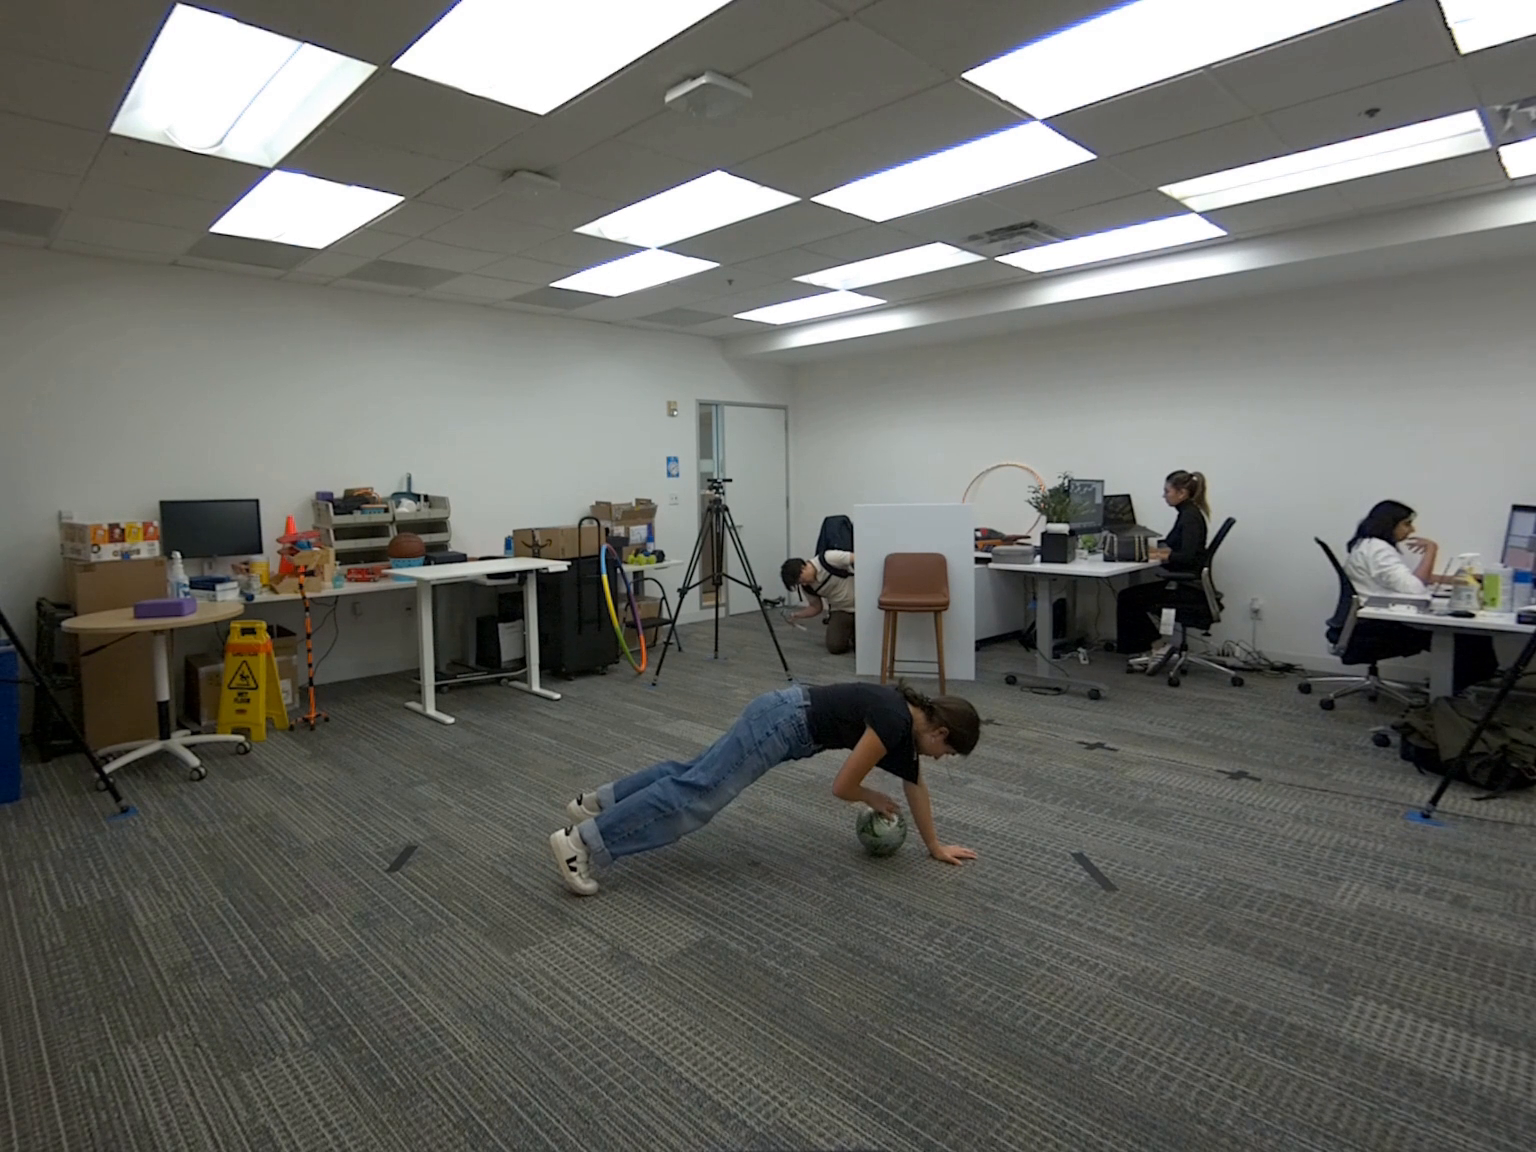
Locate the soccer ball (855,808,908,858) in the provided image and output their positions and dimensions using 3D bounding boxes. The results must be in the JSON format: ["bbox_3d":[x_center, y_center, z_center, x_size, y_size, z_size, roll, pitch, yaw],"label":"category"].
[{"bbox_3d":[0.418,0.927,3.179,0.187,0.187,0.188,-1,5,-2],"label":"soccer ball"}]
